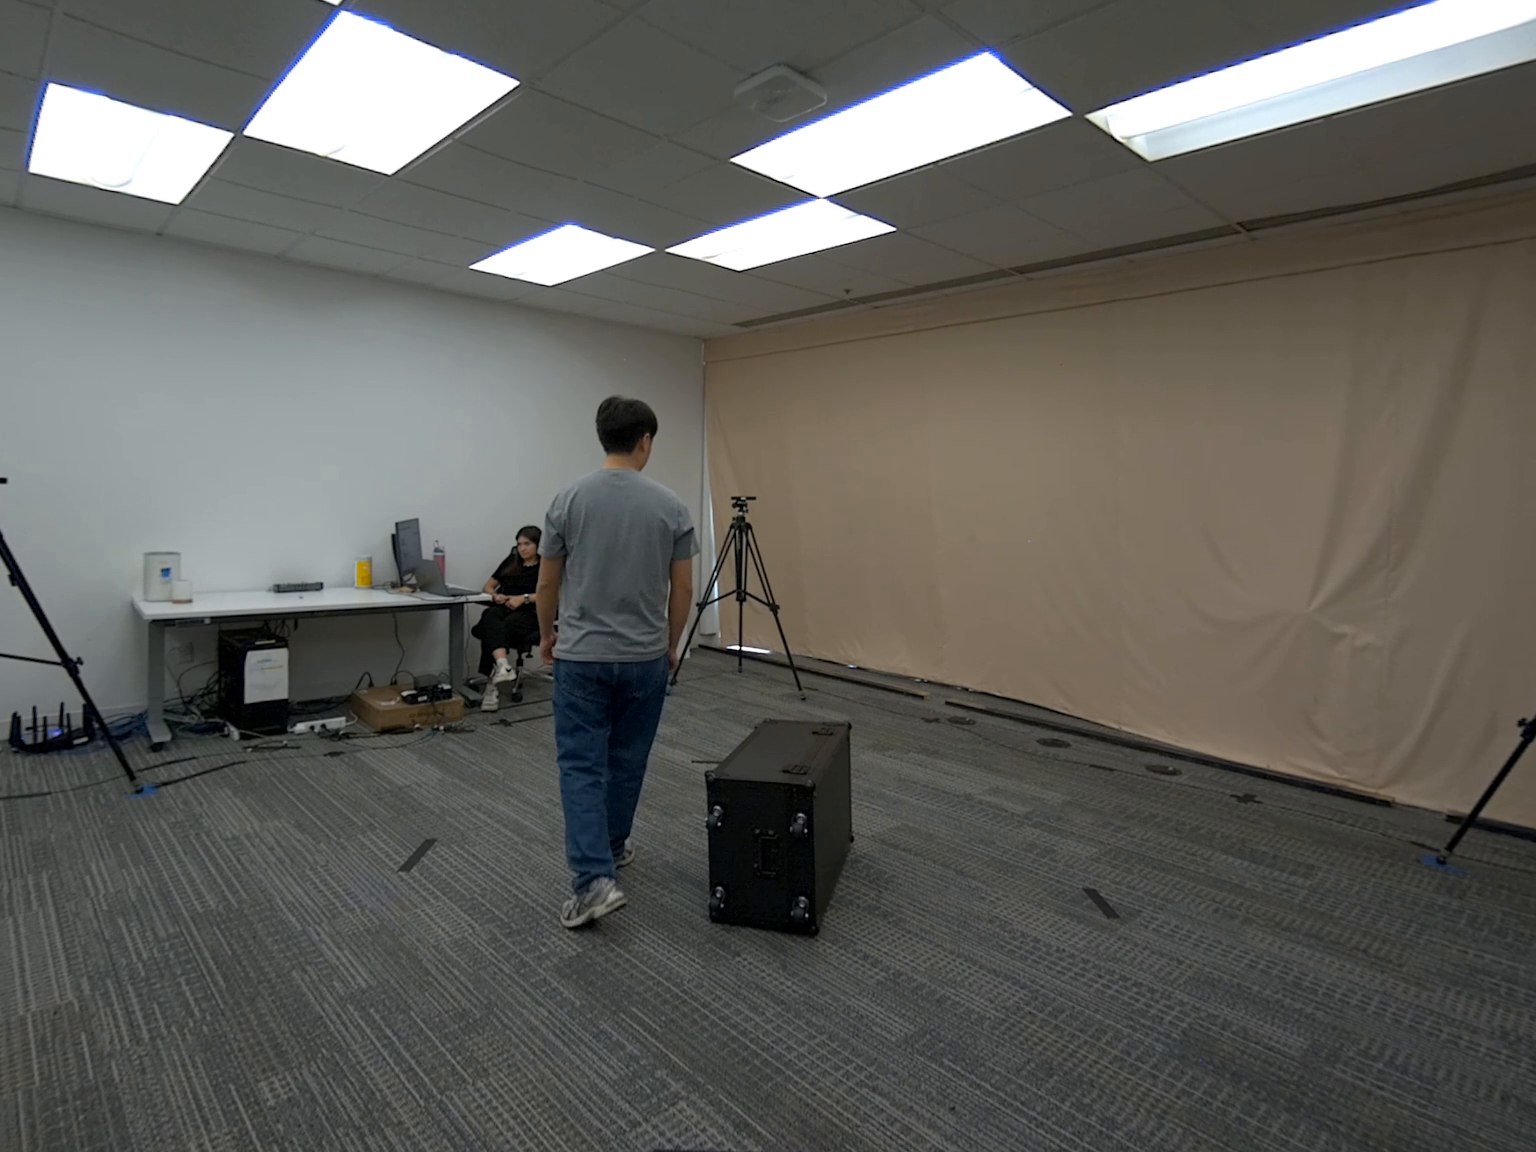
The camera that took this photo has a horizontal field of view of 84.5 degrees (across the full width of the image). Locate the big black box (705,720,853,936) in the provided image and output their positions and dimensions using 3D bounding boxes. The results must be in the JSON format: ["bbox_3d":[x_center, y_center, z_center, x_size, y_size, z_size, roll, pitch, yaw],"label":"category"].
[{"bbox_3d":[0.044,0.858,3.040,0.401,0.520,0.853,-1,4,14],"label":"big black box"}]
